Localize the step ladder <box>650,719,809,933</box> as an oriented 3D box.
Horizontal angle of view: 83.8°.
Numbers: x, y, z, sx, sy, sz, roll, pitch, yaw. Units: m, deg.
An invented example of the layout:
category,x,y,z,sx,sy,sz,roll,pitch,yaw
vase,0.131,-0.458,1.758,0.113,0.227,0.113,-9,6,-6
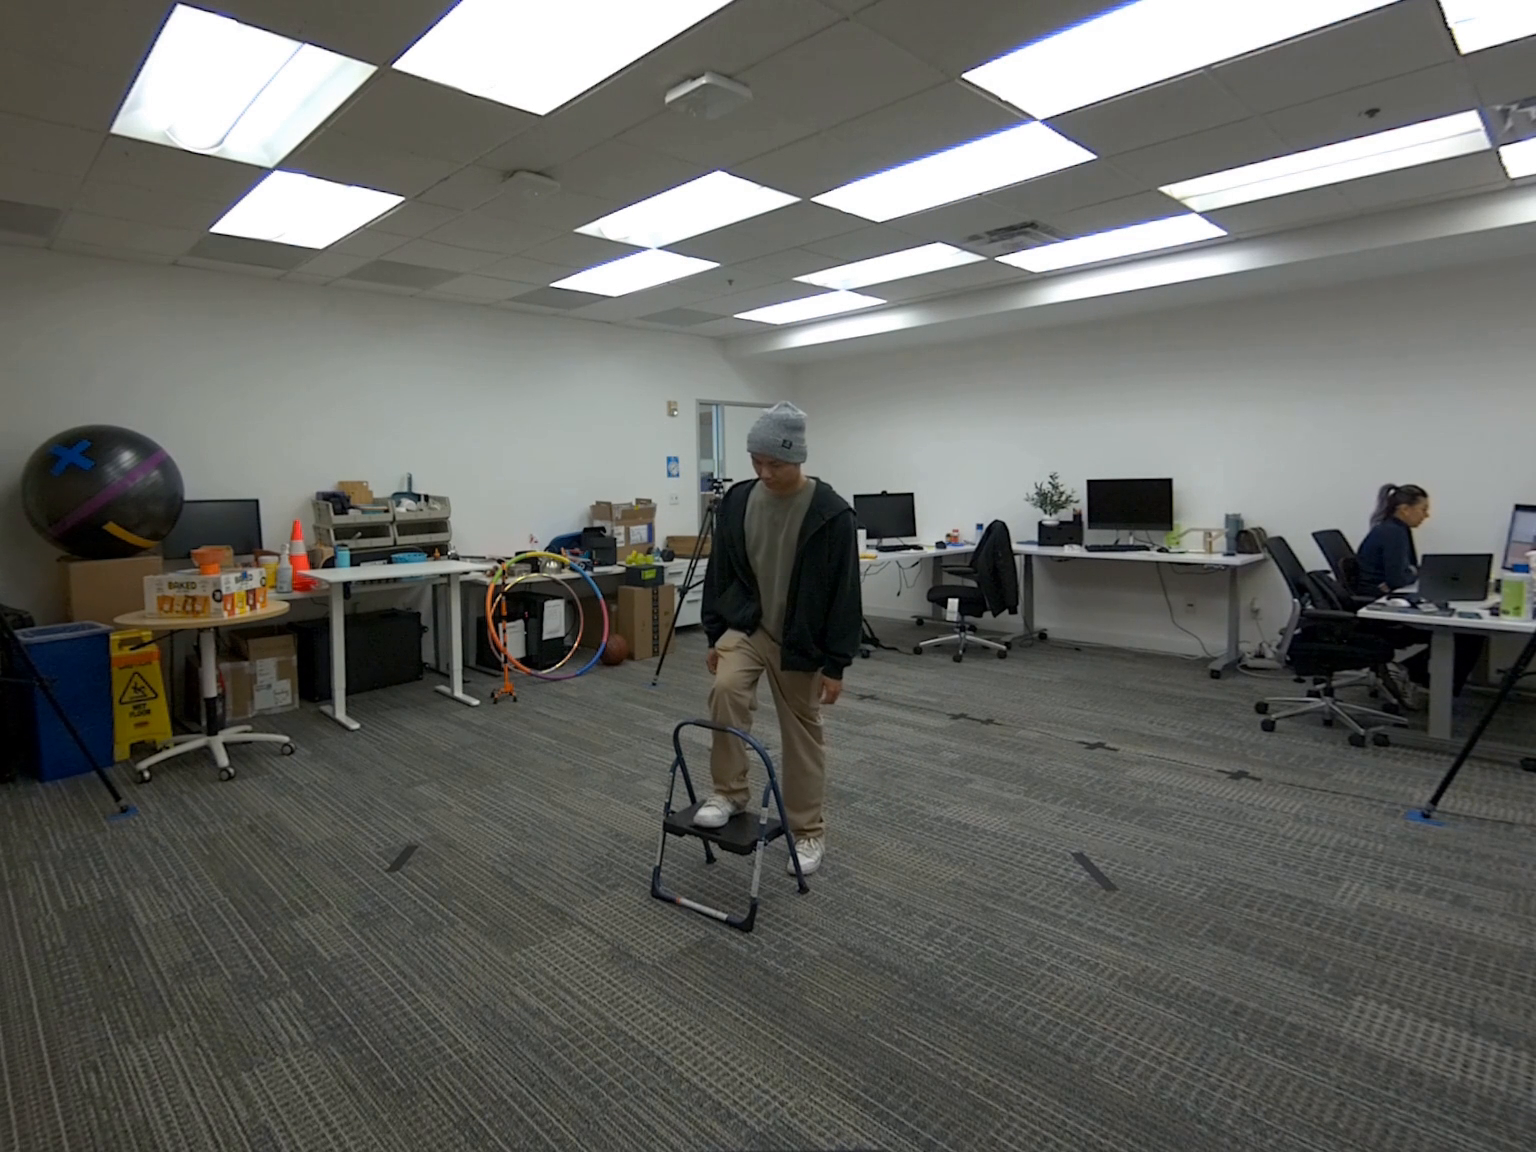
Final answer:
category,x,y,z,sx,sy,sz,roll,pitch,yaw
step ladder,-0.136,0.773,2.864,0.443,0.604,0.341,2,5,35
